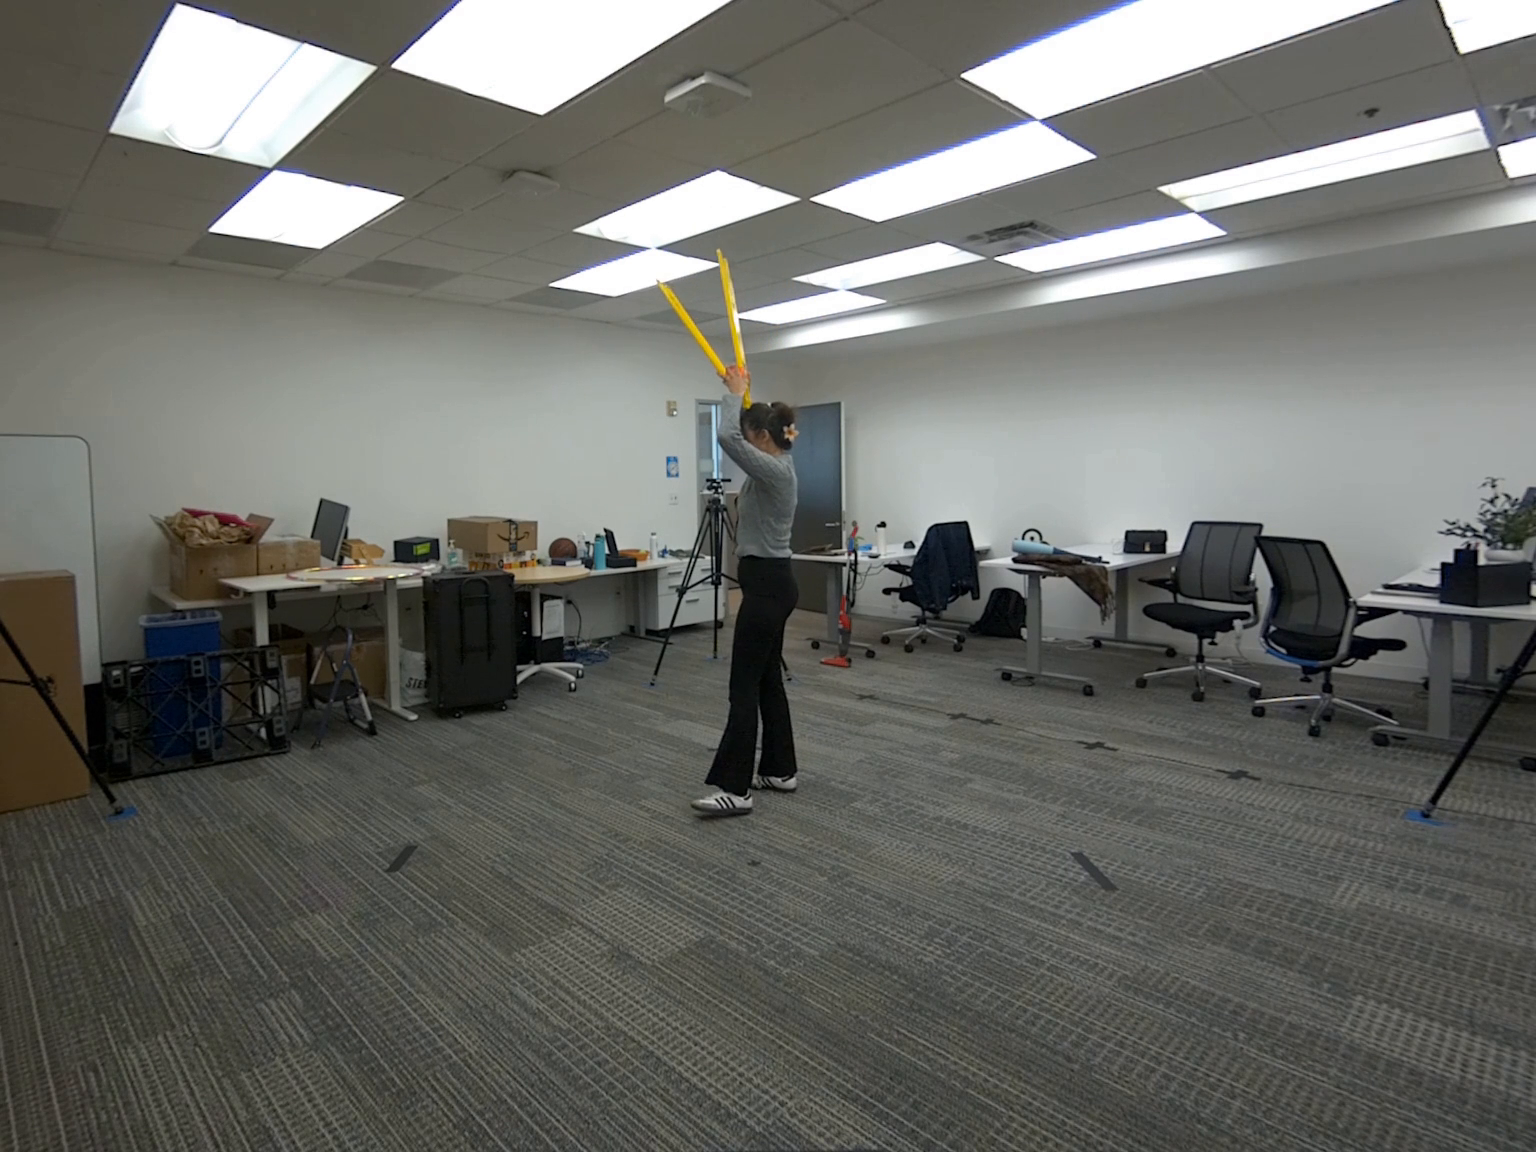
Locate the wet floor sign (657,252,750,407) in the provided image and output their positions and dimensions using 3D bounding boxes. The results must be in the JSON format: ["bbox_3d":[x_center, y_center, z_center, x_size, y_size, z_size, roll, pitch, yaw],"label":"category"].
[{"bbox_3d":[-0.204,-1.021,3.709,0.291,0.644,0.282,-23,3,8],"label":"wet floor sign"}]
